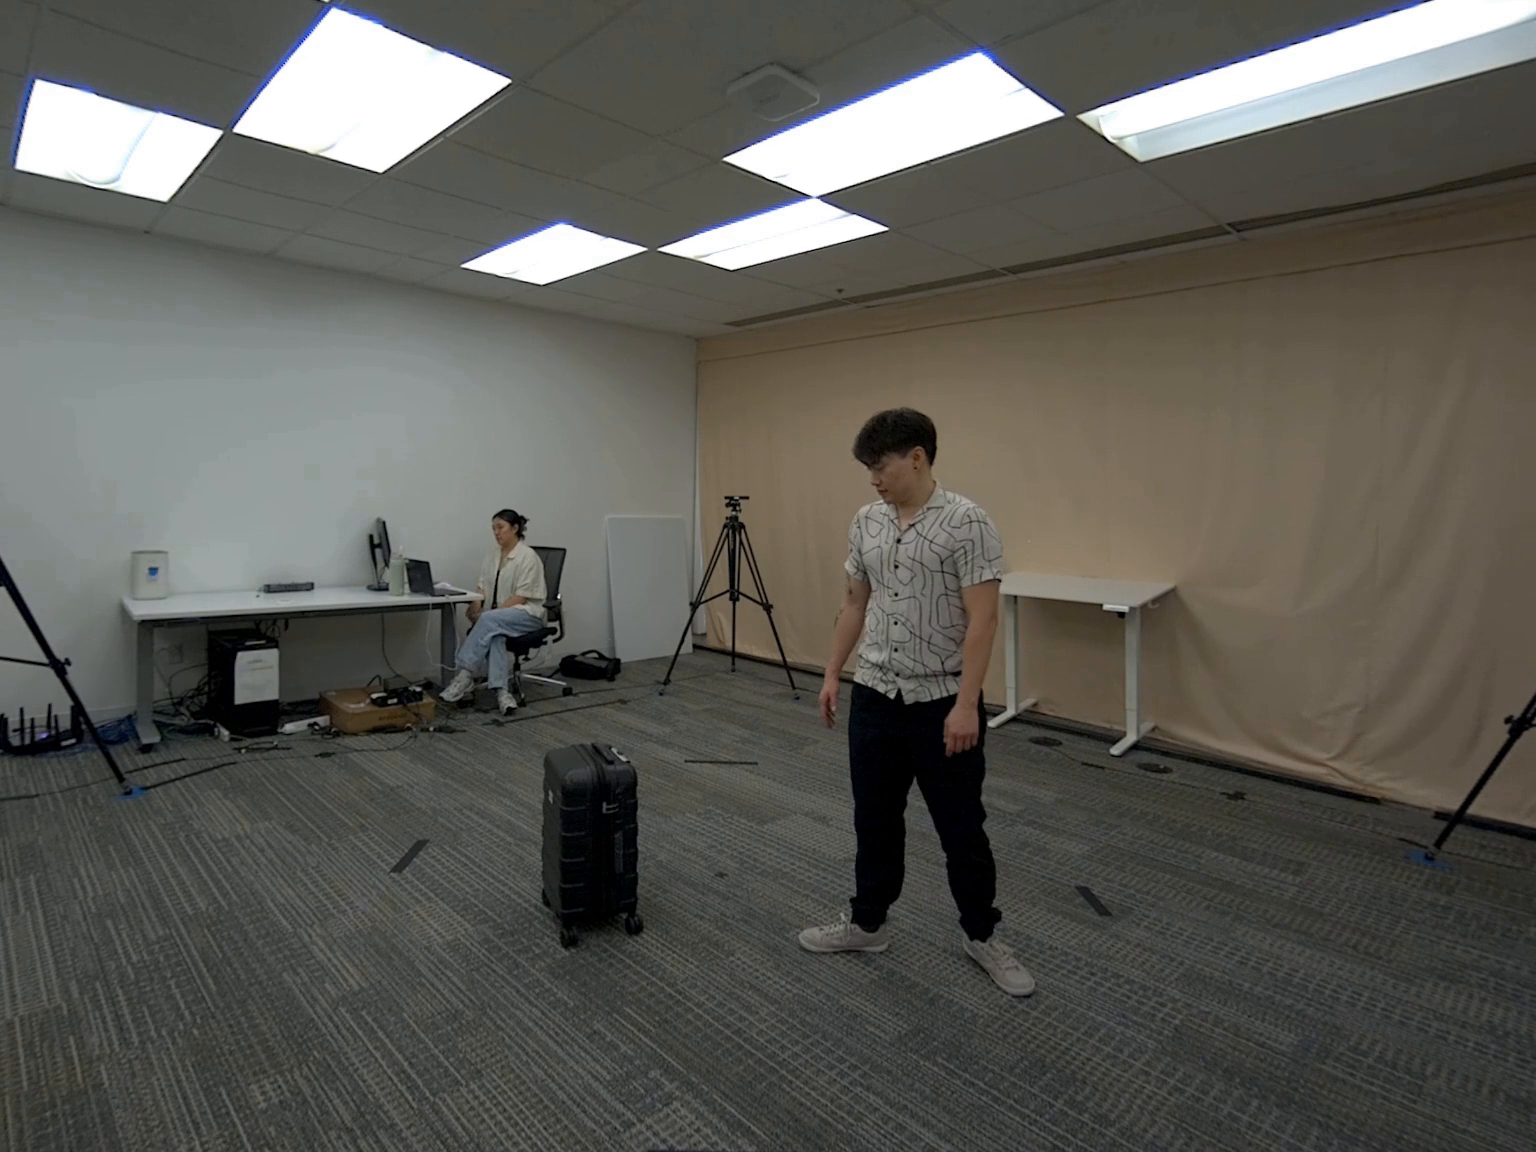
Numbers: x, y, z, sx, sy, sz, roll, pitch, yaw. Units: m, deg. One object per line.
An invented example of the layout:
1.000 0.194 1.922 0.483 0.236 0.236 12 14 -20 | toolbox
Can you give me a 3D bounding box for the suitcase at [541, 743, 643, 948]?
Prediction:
-0.600 0.849 2.770 0.244 0.548 0.383 0 4 -24 | suitcase
